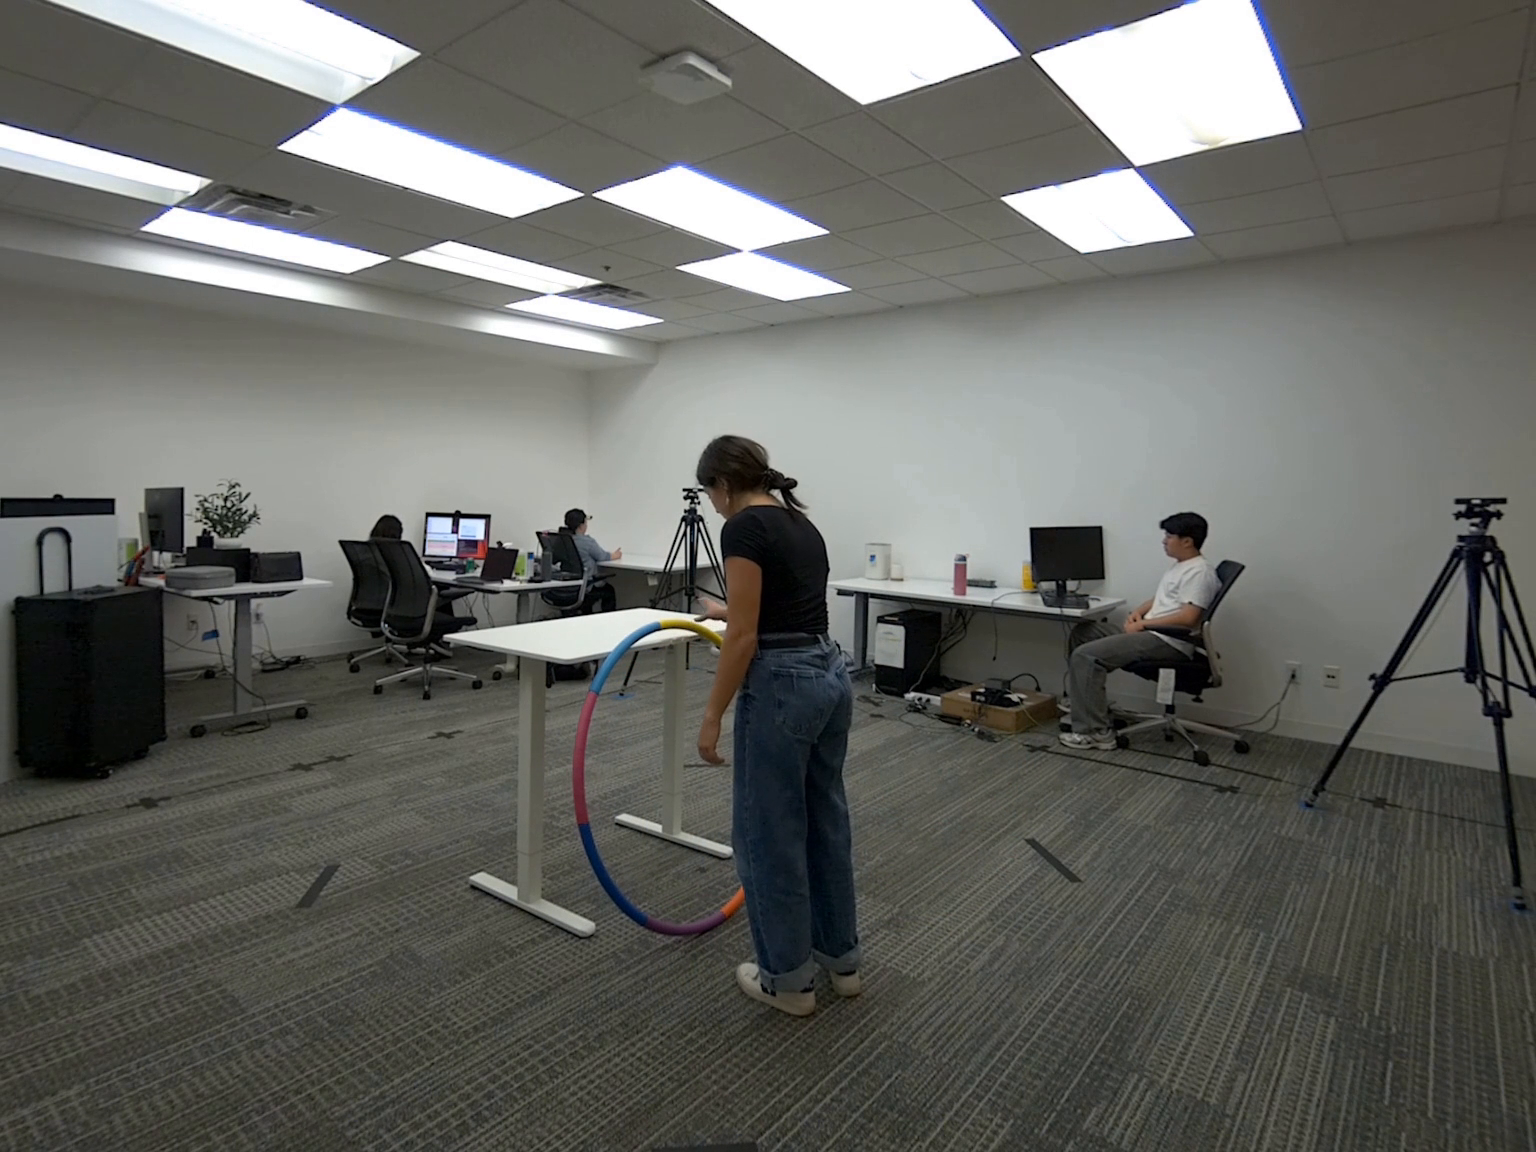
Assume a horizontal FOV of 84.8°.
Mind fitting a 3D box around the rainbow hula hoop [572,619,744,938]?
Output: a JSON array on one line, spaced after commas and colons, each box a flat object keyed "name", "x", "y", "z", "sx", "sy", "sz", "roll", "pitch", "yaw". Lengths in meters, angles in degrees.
[{"name": "rainbow hula hoop", "x": -0.245, "y": 0.622, "z": 2.754, "sx": 0.036, "sy": 0.985, "sz": 0.951, "roll": -15, "pitch": -6, "yaw": 36}]
